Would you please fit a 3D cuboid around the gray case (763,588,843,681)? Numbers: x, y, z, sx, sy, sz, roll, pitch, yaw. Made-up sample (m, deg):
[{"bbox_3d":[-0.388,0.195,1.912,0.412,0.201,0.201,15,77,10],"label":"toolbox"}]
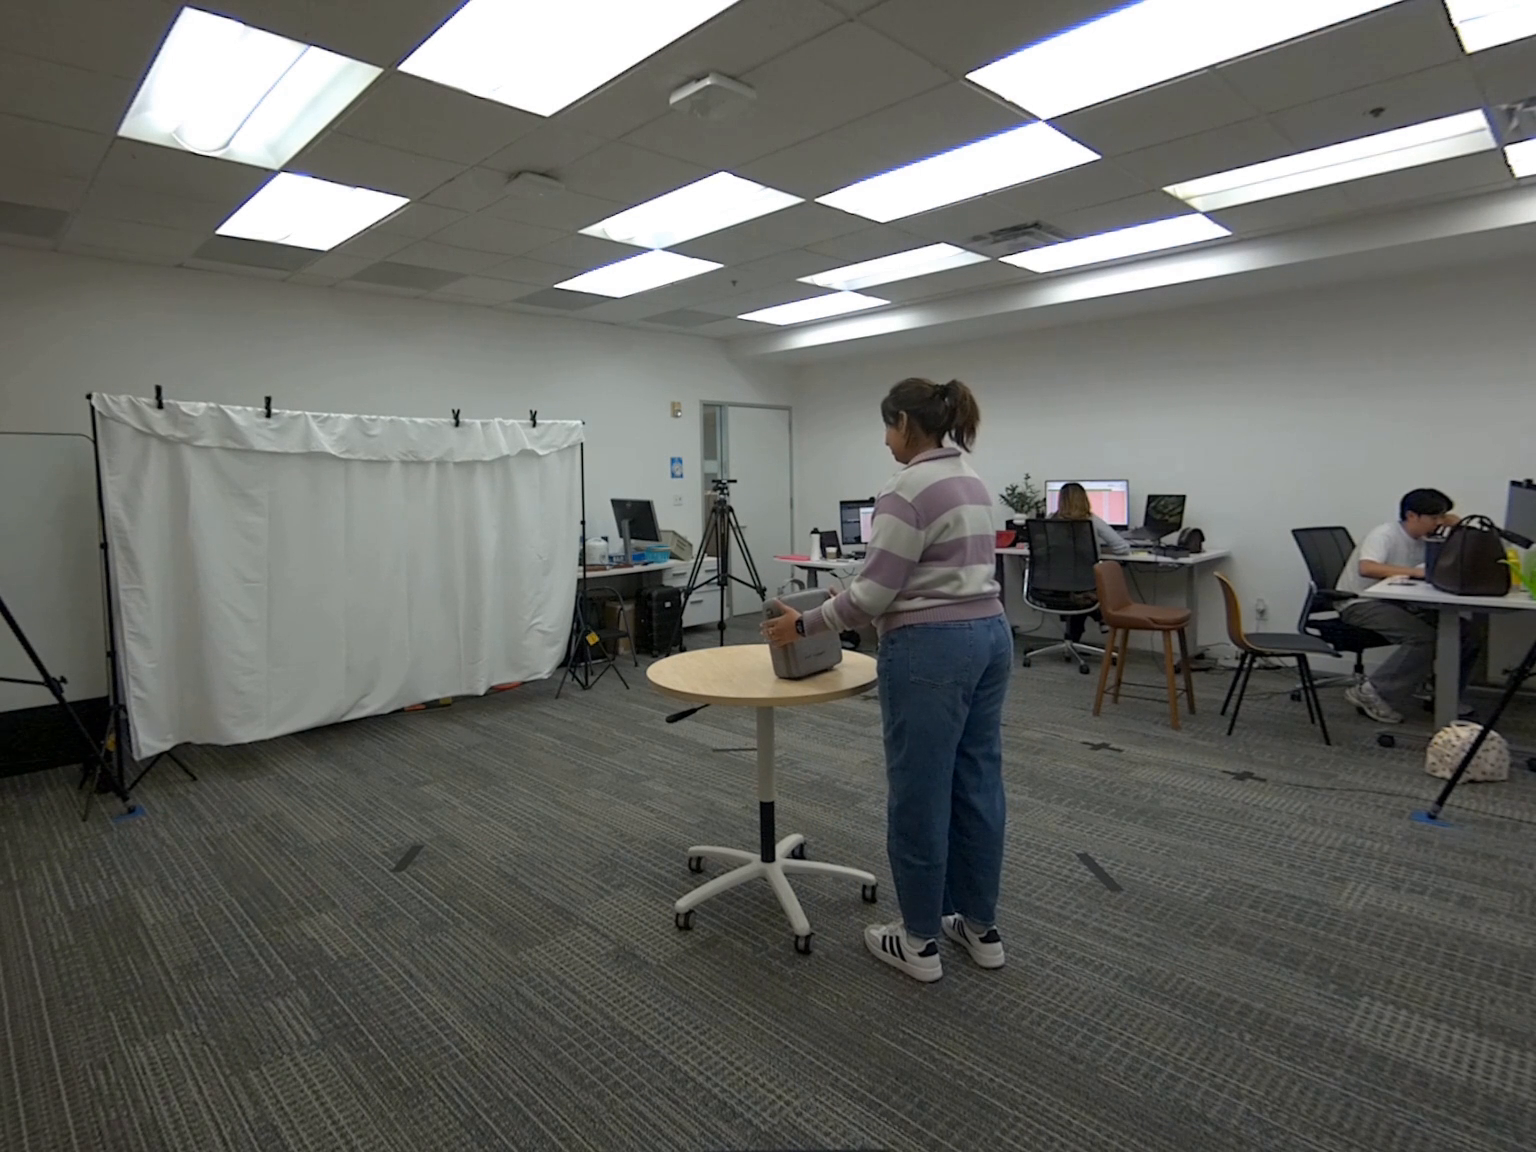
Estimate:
[{"bbox_3d":[0.114,0.170,2.687,0.106,0.262,0.250,-13,-5,41],"label":"gray case"}]
